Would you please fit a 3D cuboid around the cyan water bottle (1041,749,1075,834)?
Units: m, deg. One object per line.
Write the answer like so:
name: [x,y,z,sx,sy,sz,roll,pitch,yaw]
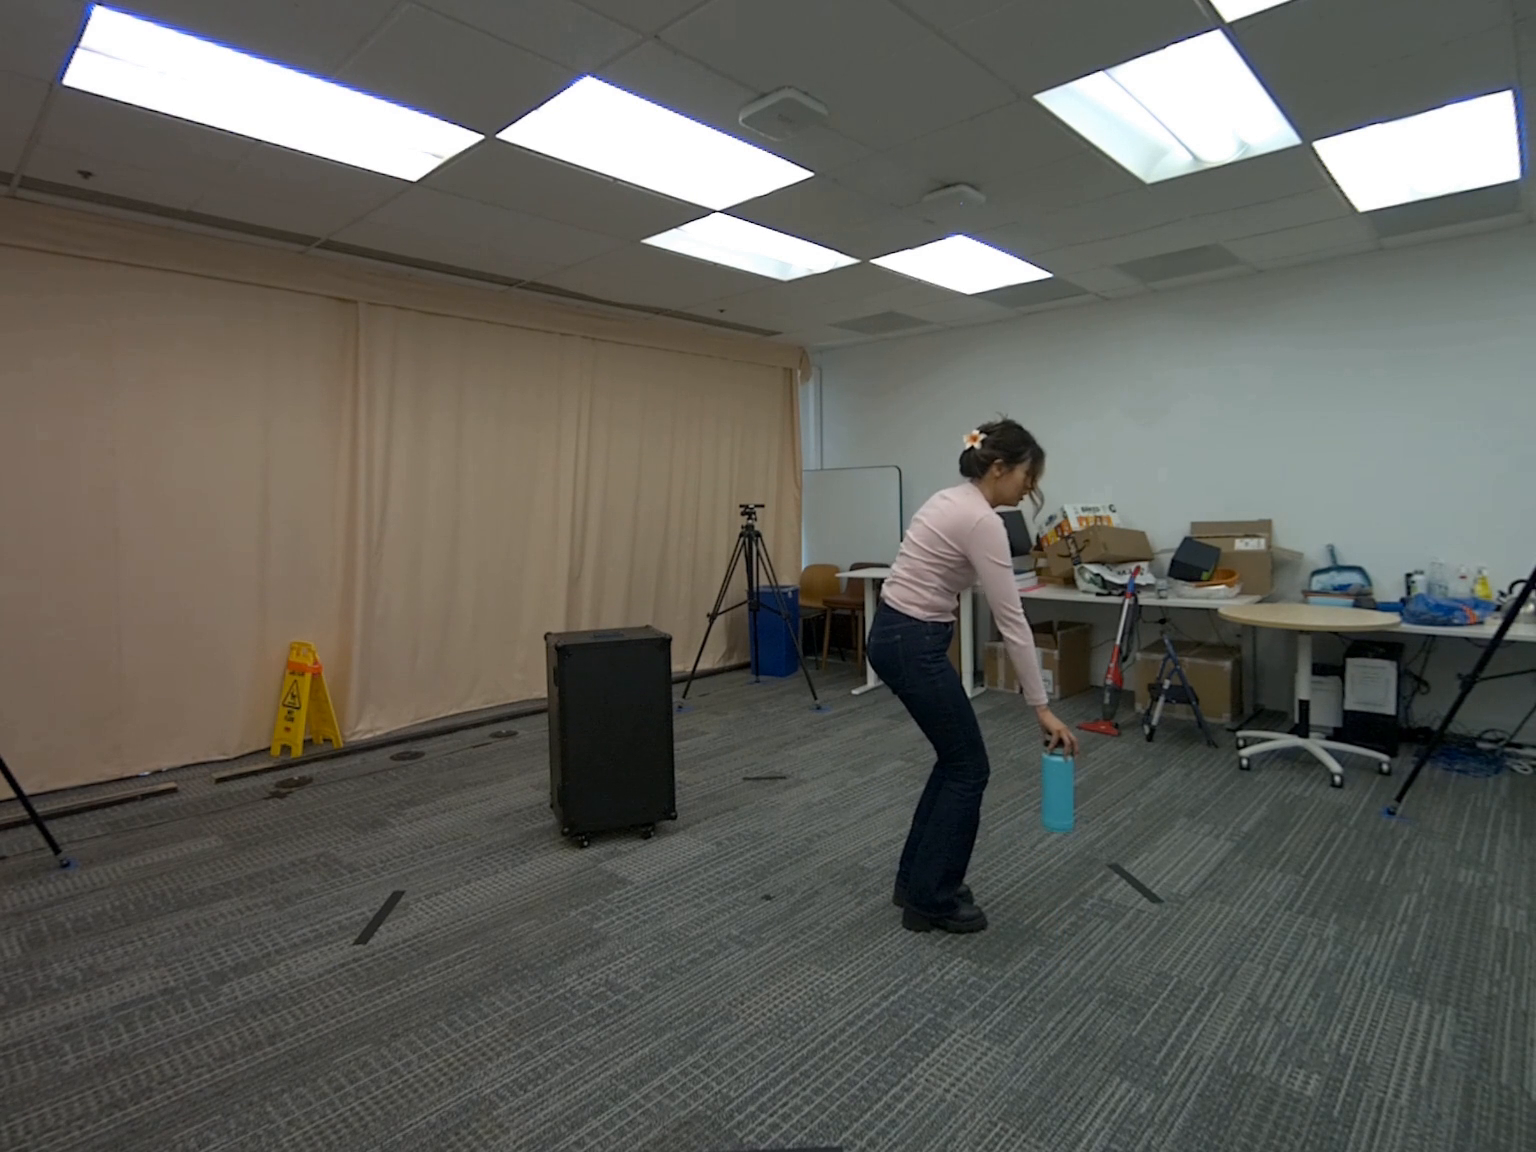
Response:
cyan water bottle: [0.875,0.613,2.502,0.092,0.282,0.093,-2,4,-2]
